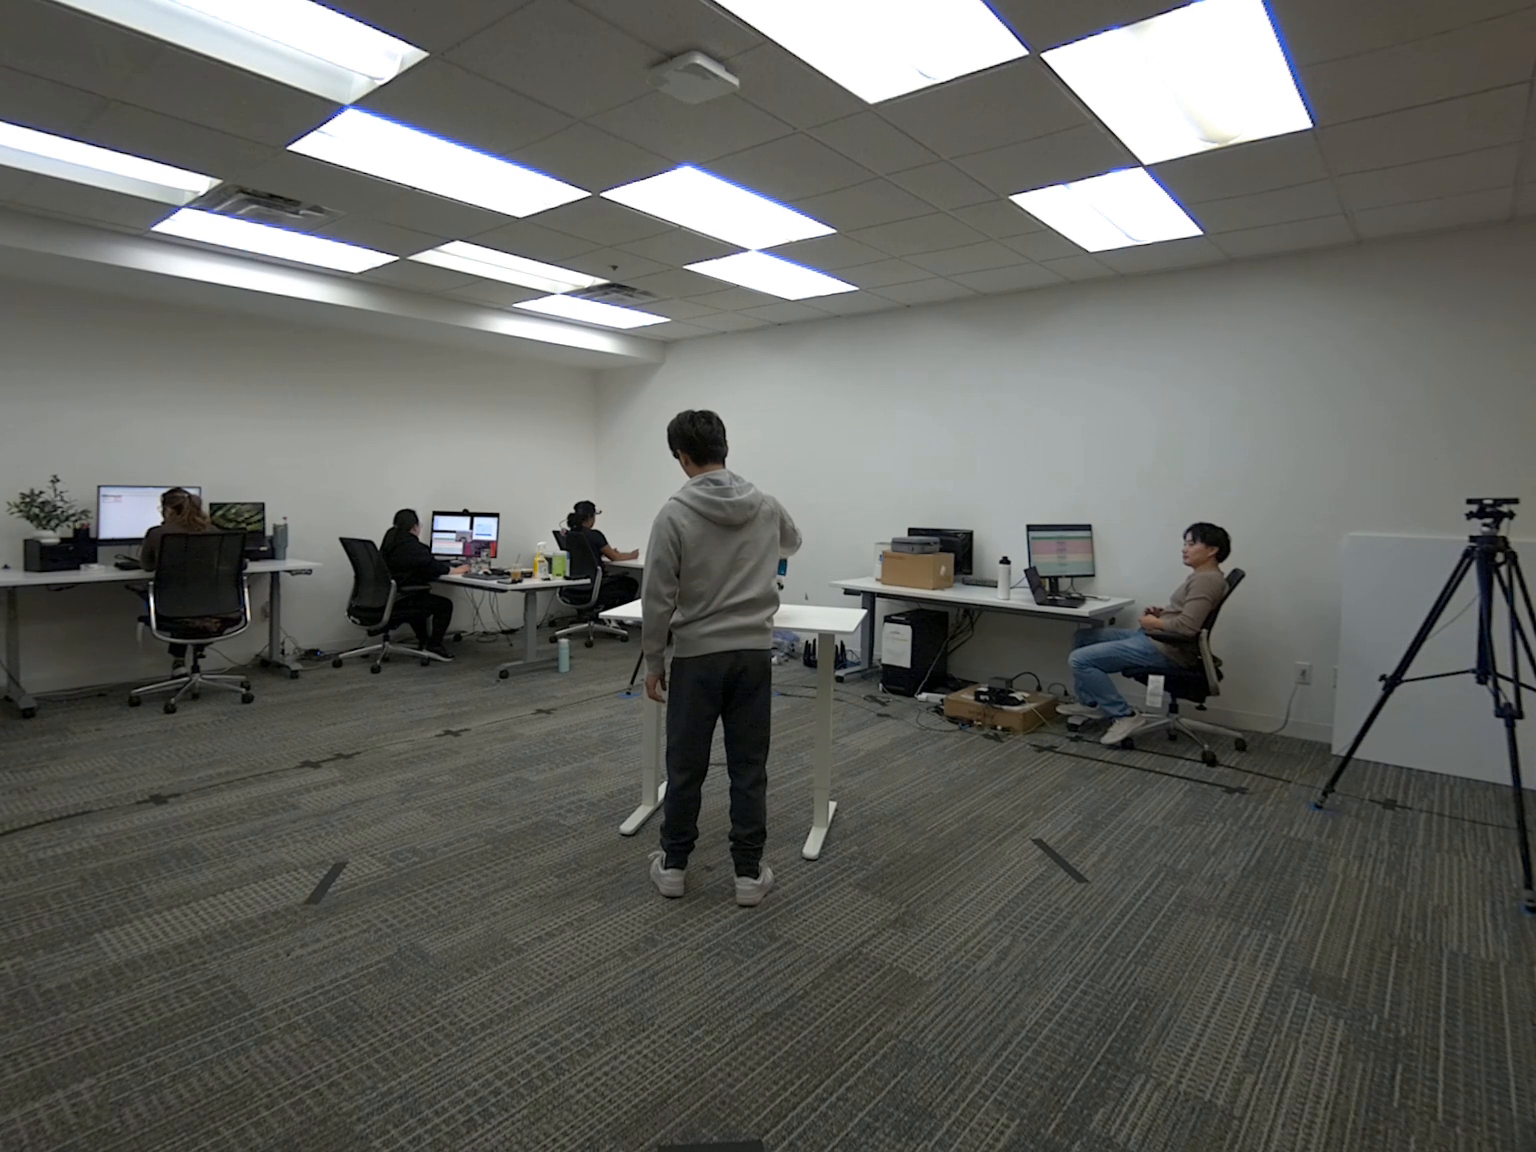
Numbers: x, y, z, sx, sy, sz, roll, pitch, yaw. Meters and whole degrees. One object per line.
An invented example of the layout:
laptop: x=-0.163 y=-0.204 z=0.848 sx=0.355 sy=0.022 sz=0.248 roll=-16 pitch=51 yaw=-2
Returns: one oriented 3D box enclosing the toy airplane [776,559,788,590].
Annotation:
toy airplane: x=-0.050 y=-0.017 z=3.512 sx=0.257 sy=0.157 sz=0.252 roll=-2 pitch=-4 yaw=-9
